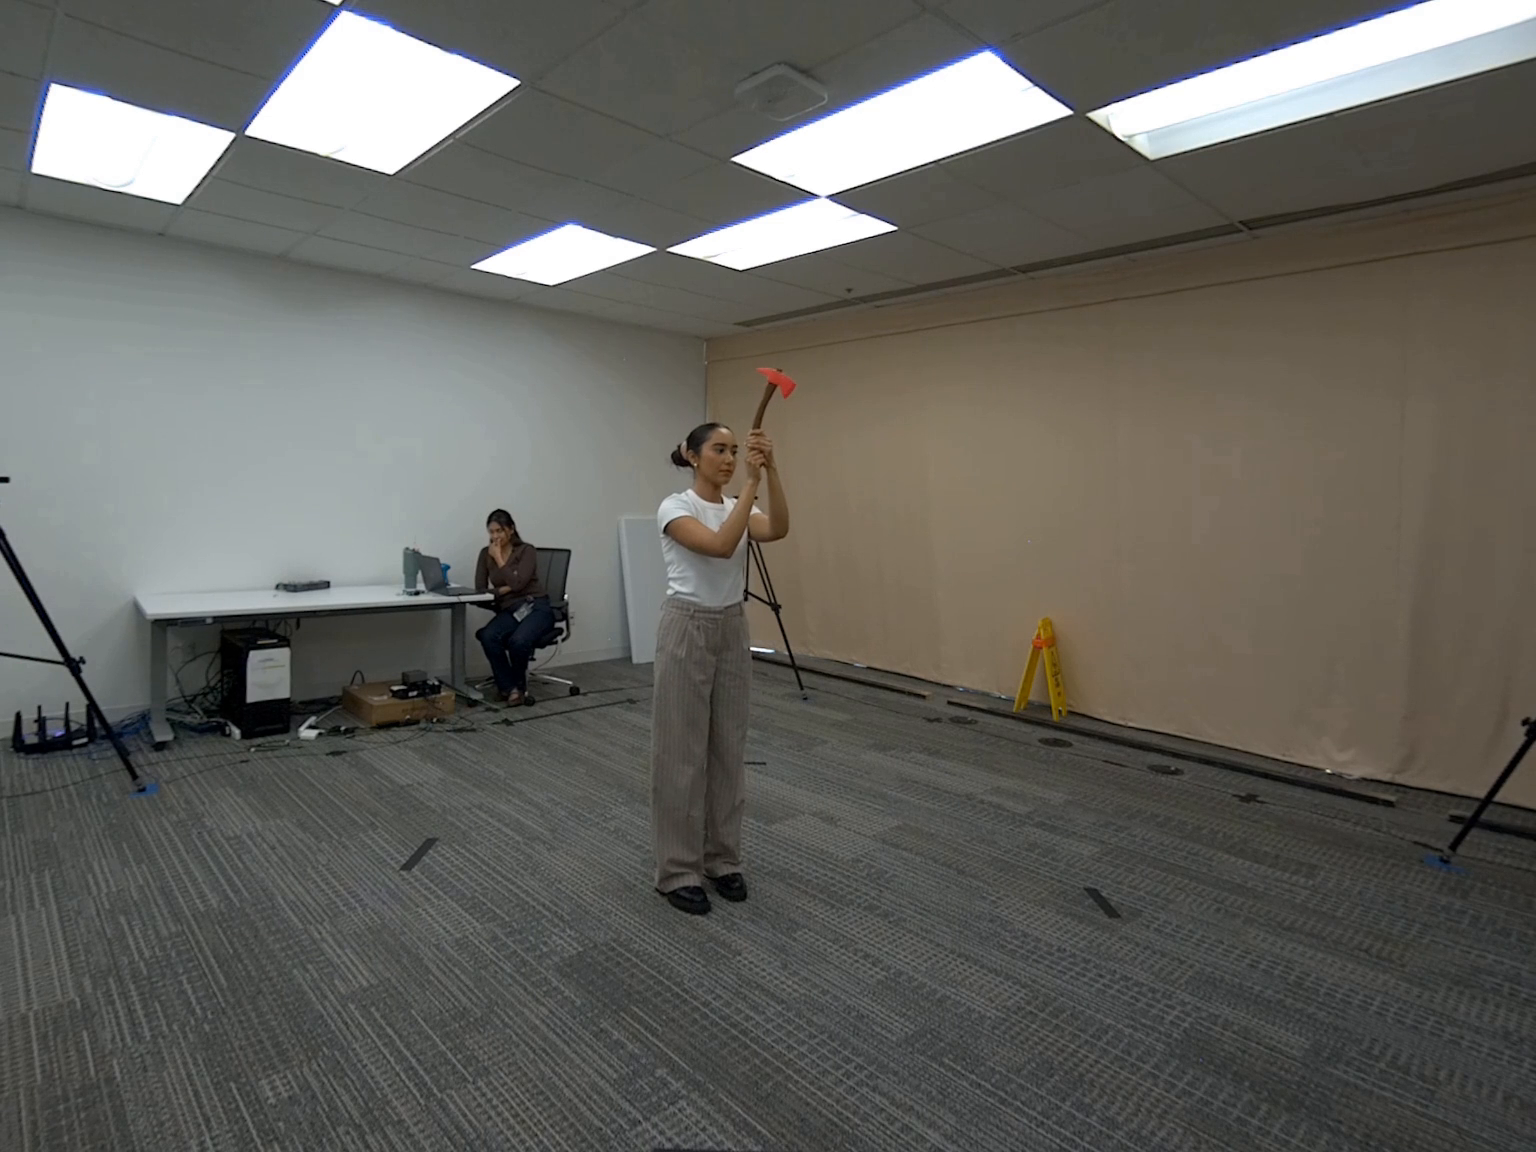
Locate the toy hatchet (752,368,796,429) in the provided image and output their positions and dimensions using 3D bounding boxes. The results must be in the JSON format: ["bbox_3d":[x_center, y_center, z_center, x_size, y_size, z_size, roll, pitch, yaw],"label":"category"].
[{"bbox_3d":[0.006,-0.528,2.680,0.131,0.269,0.030,4,5,0],"label":"toy hatchet"}]
